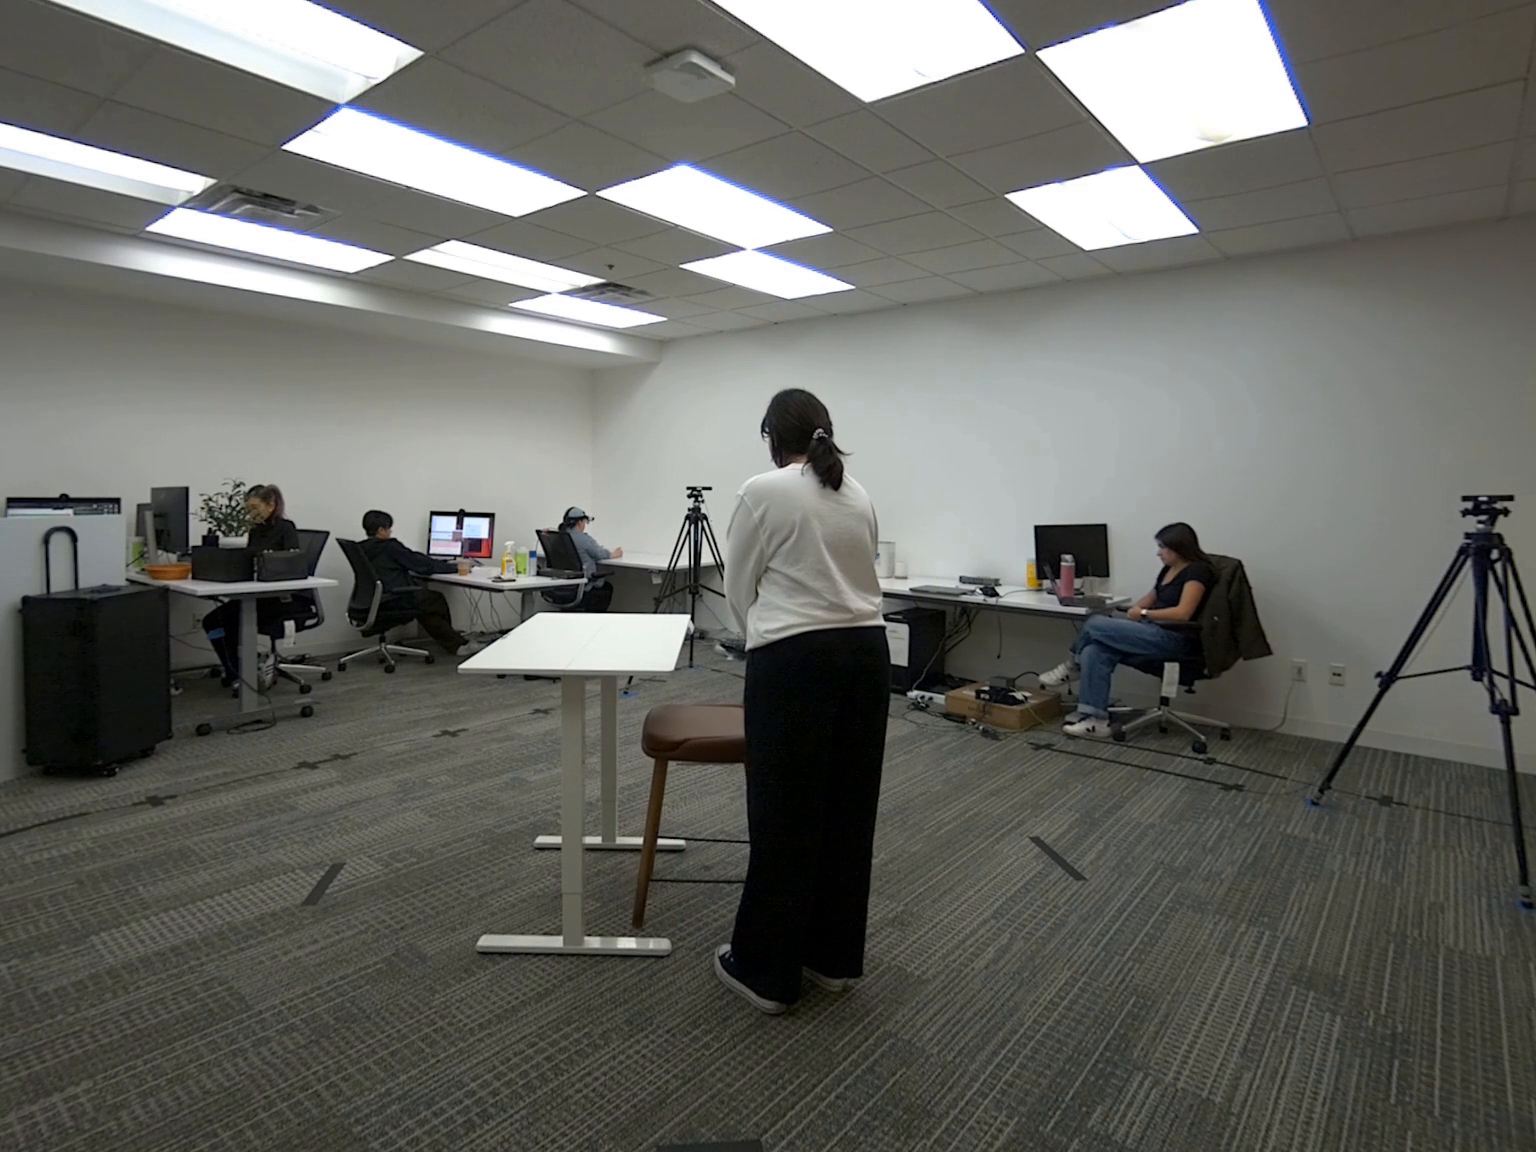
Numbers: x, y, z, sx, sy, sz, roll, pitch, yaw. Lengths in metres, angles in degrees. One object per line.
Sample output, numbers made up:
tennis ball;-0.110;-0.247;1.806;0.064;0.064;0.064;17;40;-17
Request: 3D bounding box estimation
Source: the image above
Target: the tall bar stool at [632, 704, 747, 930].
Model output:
tall bar stool;-0.188;0.657;2.834;0.467;0.887;0.458;4;4;-1
